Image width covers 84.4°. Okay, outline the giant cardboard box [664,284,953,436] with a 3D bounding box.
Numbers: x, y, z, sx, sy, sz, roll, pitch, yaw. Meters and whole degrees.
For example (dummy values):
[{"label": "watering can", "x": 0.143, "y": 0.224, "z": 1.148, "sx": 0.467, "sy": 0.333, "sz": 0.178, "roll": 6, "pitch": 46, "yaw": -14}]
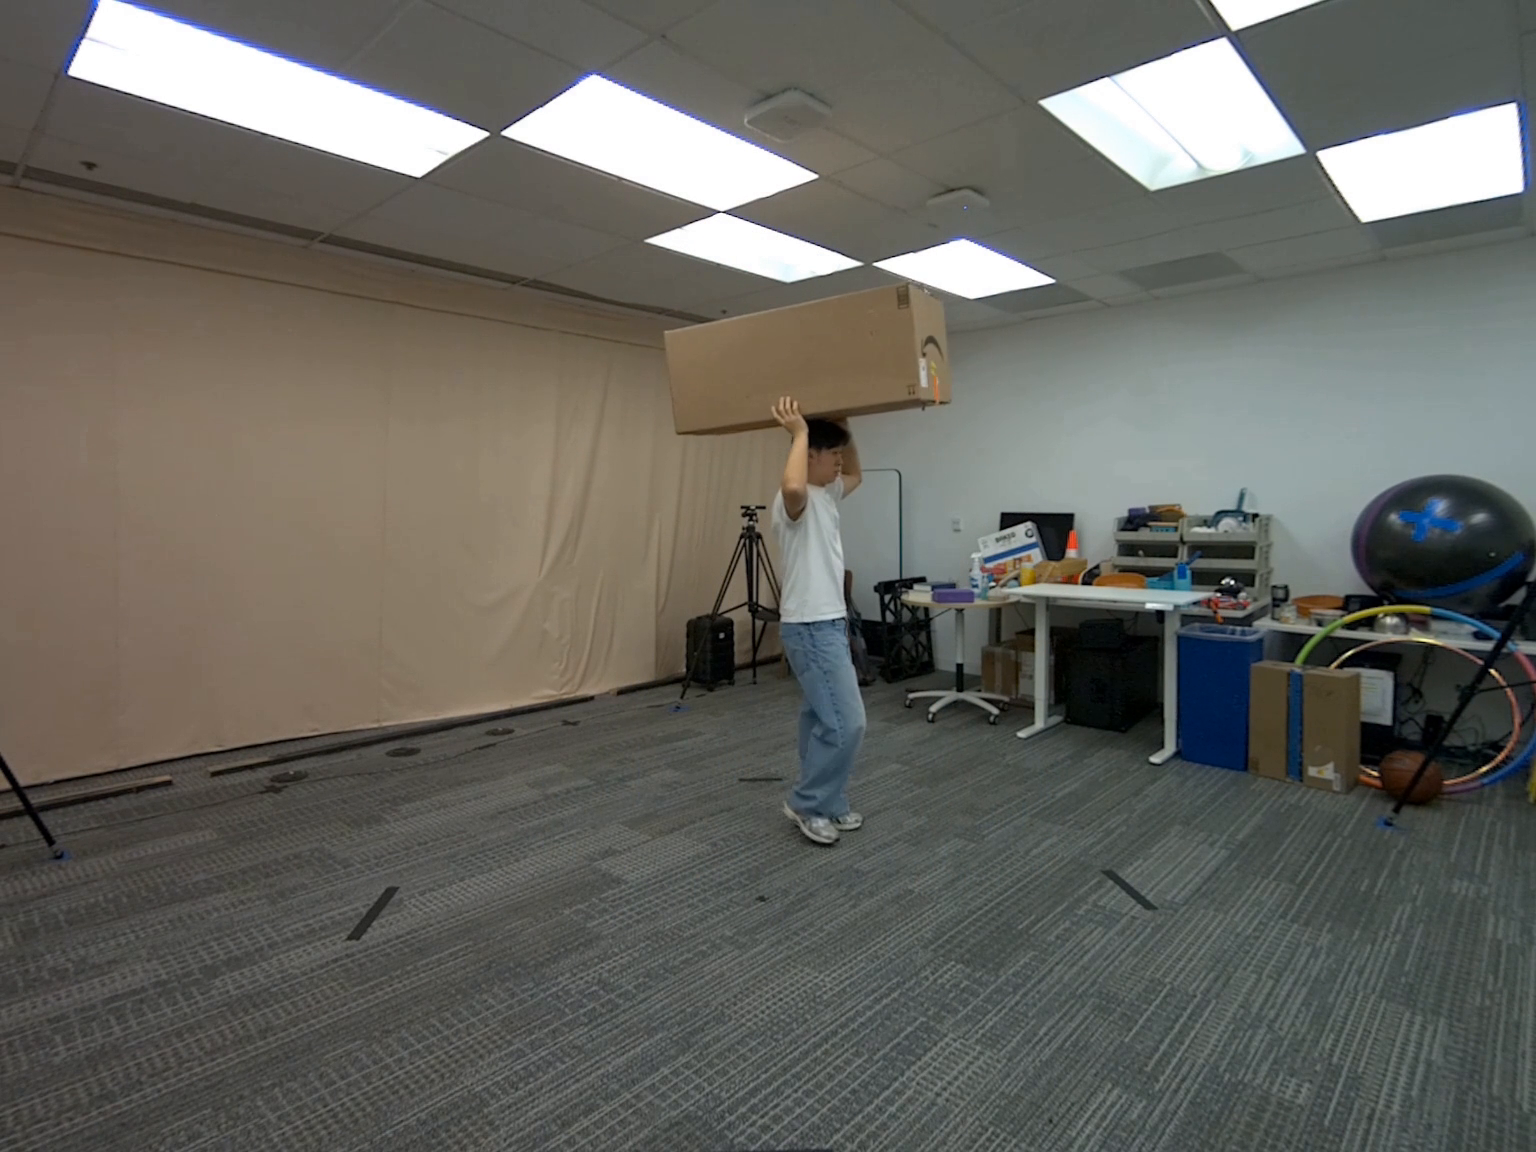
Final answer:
[{"label": "giant cardboard box", "x": 0.173, "y": -0.859, "z": 3.493, "sx": 1.051, "sy": 0.424, "sz": 0.566, "roll": -3, "pitch": 8, "yaw": 26}]
